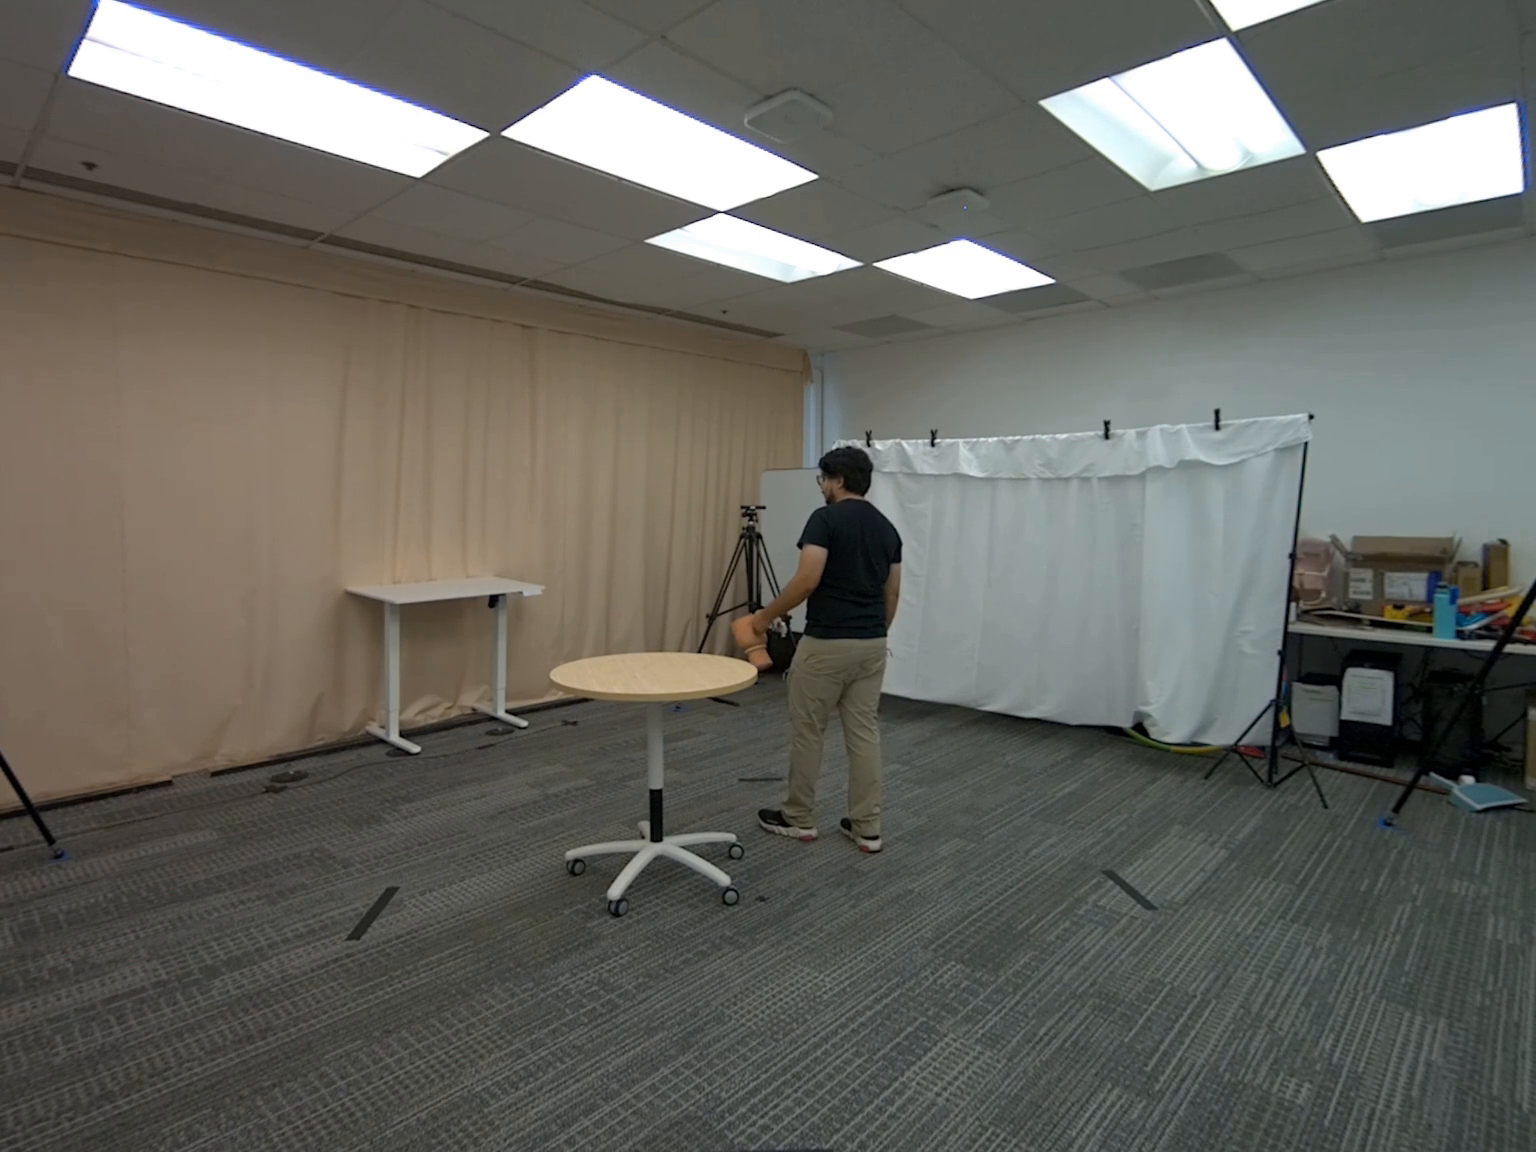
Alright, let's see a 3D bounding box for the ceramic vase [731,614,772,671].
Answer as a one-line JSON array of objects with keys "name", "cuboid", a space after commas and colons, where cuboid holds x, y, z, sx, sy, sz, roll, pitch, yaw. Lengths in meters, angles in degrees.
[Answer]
[{"name": "ceramic vase", "cuboid": [-0.062, 0.290, 3.634, 0.135, 0.223, 0.155, -23, -16, 7]}]
